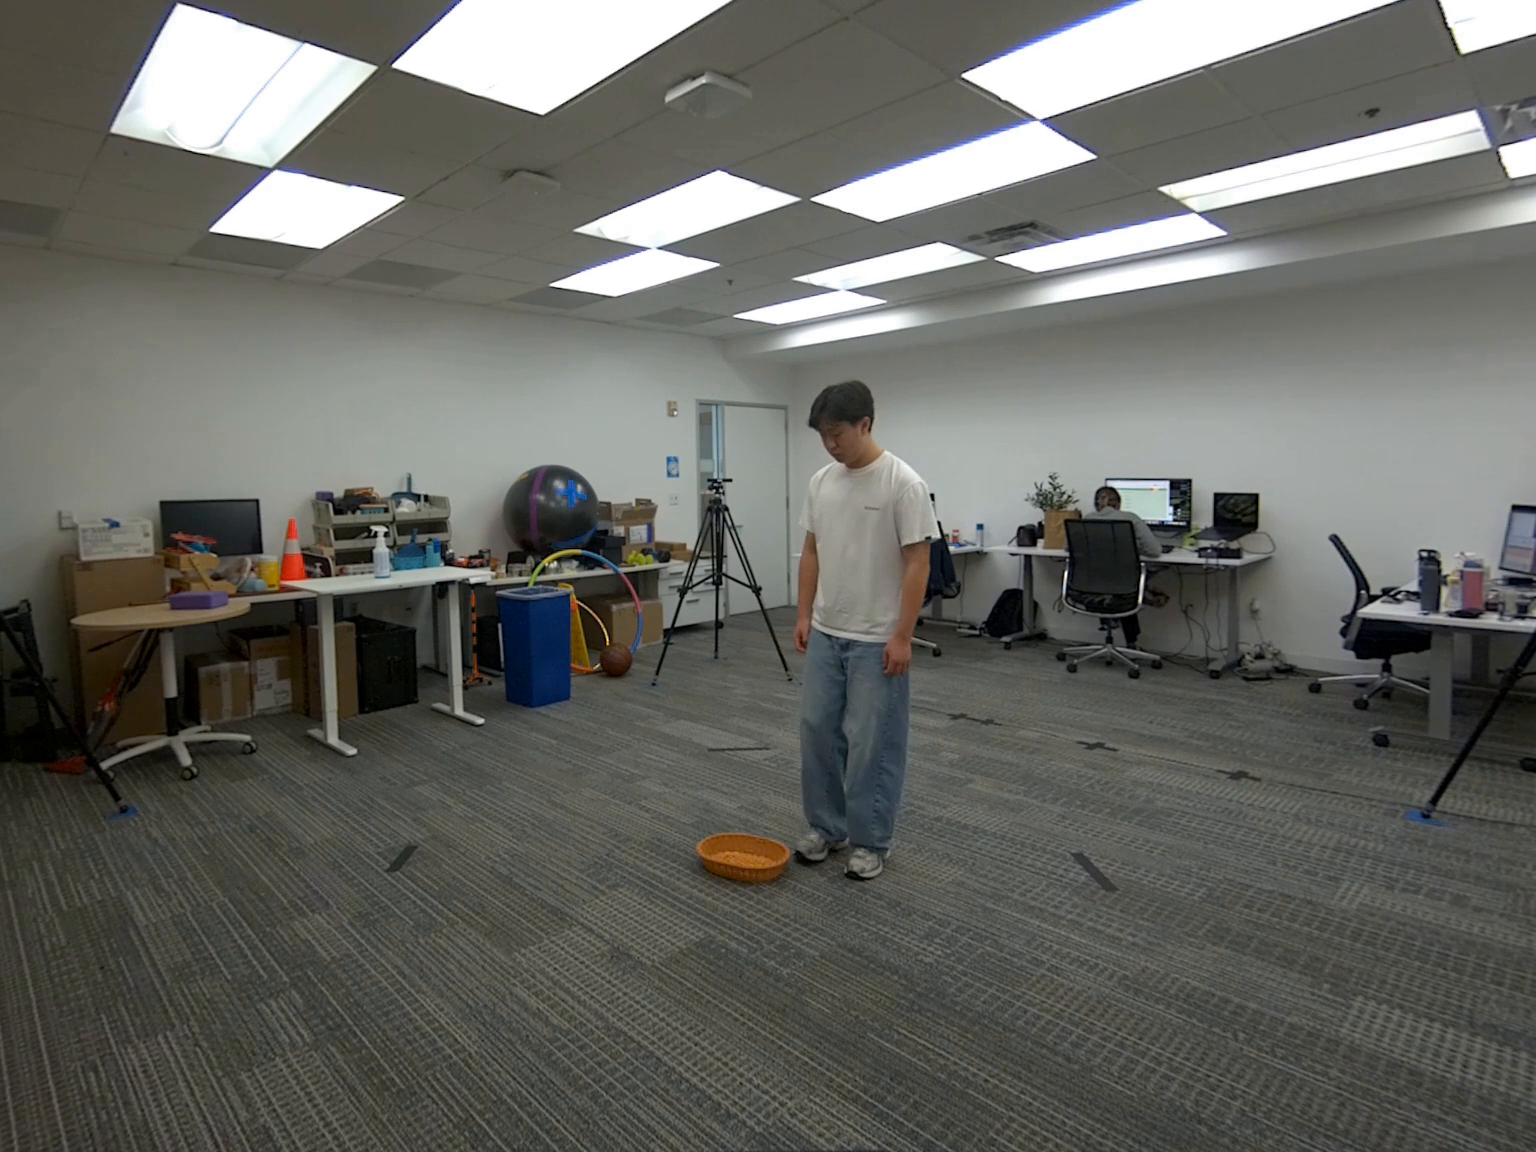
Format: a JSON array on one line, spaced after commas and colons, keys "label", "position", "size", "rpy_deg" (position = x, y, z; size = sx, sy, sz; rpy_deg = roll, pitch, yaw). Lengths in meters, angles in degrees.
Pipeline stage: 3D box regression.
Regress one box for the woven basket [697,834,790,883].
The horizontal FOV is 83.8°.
[{"label": "woven basket", "position": [-0.086, 1.008, 3.069], "size": [0.360, 0.073, 0.247], "rpy_deg": [3, 7, 30]}]
